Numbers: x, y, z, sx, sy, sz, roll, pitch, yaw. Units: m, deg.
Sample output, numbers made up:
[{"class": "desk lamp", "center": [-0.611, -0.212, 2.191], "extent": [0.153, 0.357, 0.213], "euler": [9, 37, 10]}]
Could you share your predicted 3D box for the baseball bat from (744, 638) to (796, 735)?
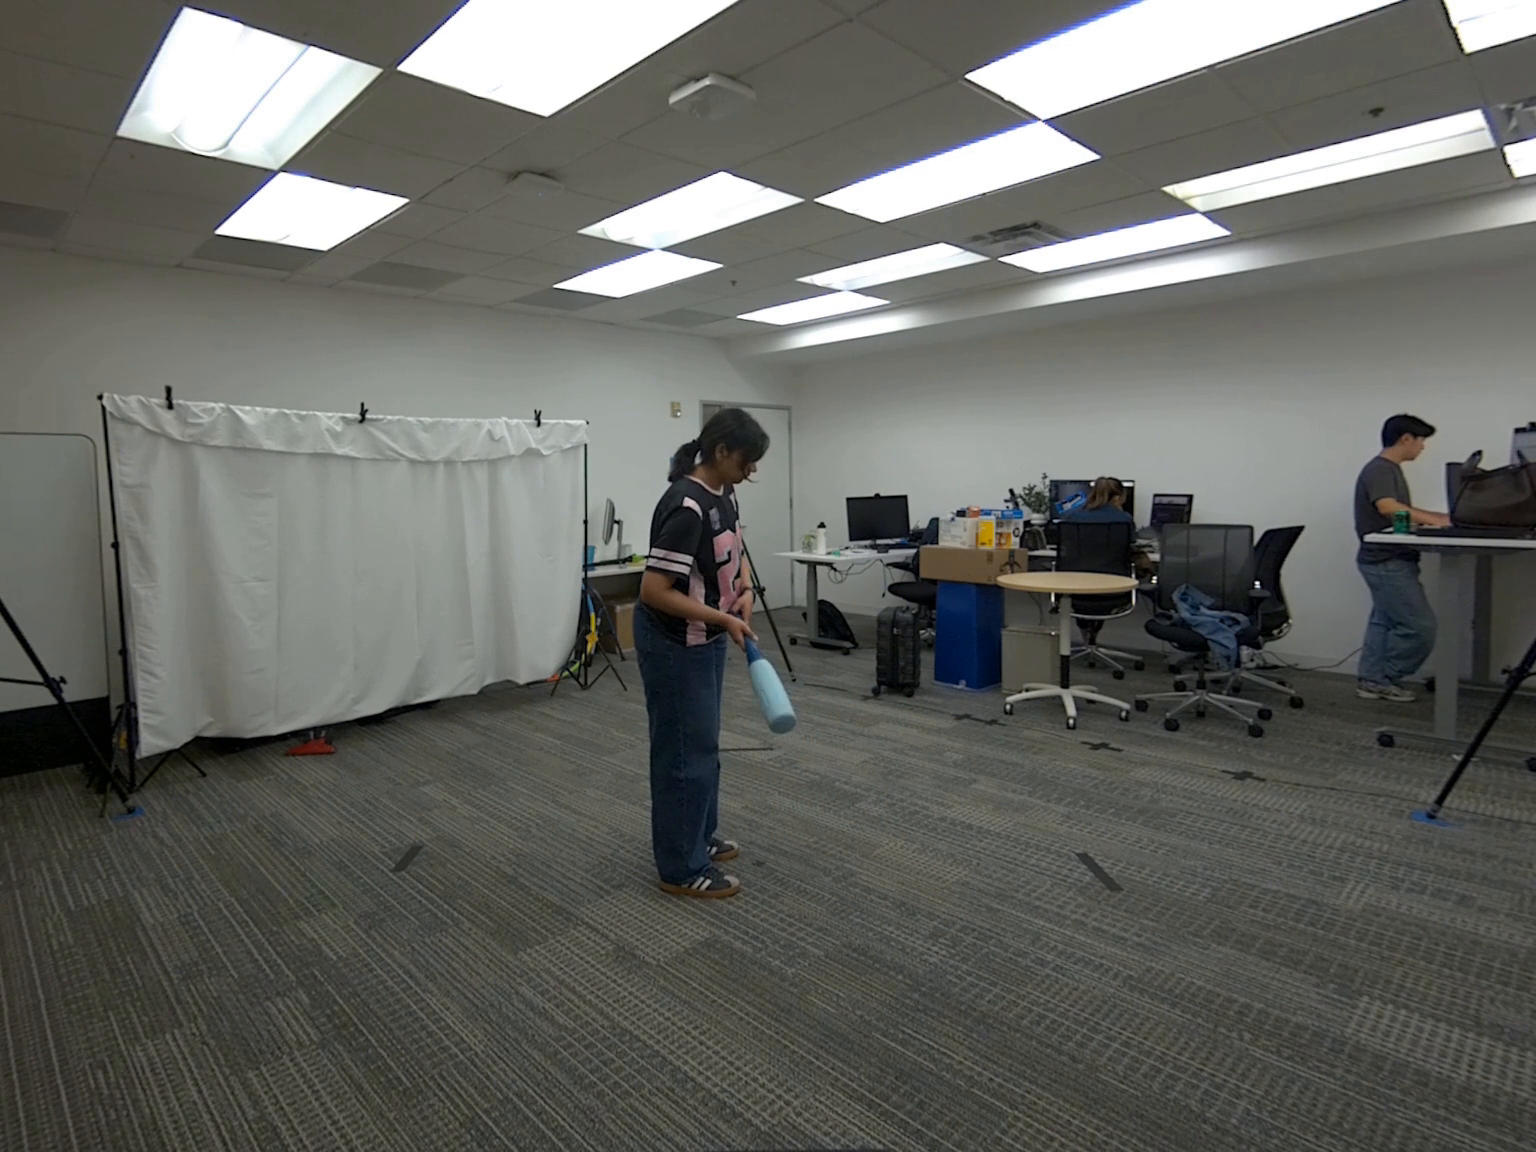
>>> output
[{"class": "baseball bat", "center": [-0.033, 0.265, 2.681], "extent": [0.088, 0.087, 0.563], "euler": [-3, 36, -18]}]
